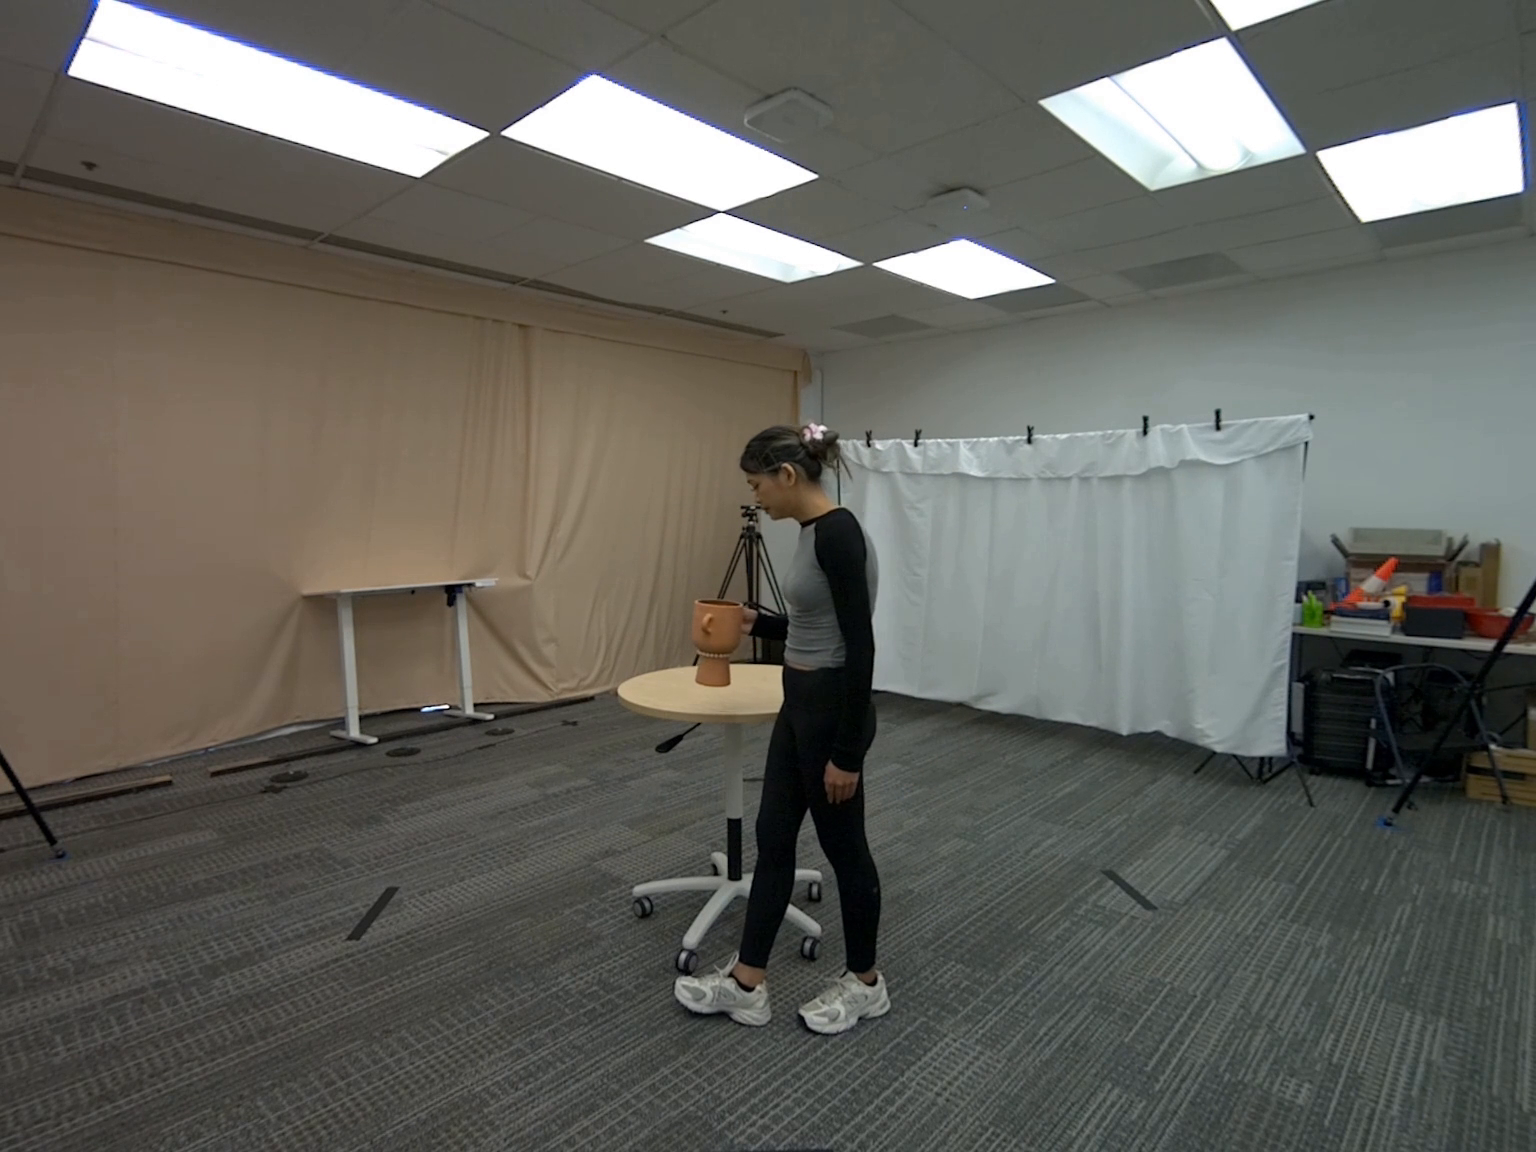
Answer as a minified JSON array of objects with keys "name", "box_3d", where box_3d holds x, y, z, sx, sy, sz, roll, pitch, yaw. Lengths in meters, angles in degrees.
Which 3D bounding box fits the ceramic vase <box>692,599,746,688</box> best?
[{"name":"ceramic vase","box_3d":[-0.133,0.185,2.271,0.154,0.219,0.139,1,7,-33]}]
